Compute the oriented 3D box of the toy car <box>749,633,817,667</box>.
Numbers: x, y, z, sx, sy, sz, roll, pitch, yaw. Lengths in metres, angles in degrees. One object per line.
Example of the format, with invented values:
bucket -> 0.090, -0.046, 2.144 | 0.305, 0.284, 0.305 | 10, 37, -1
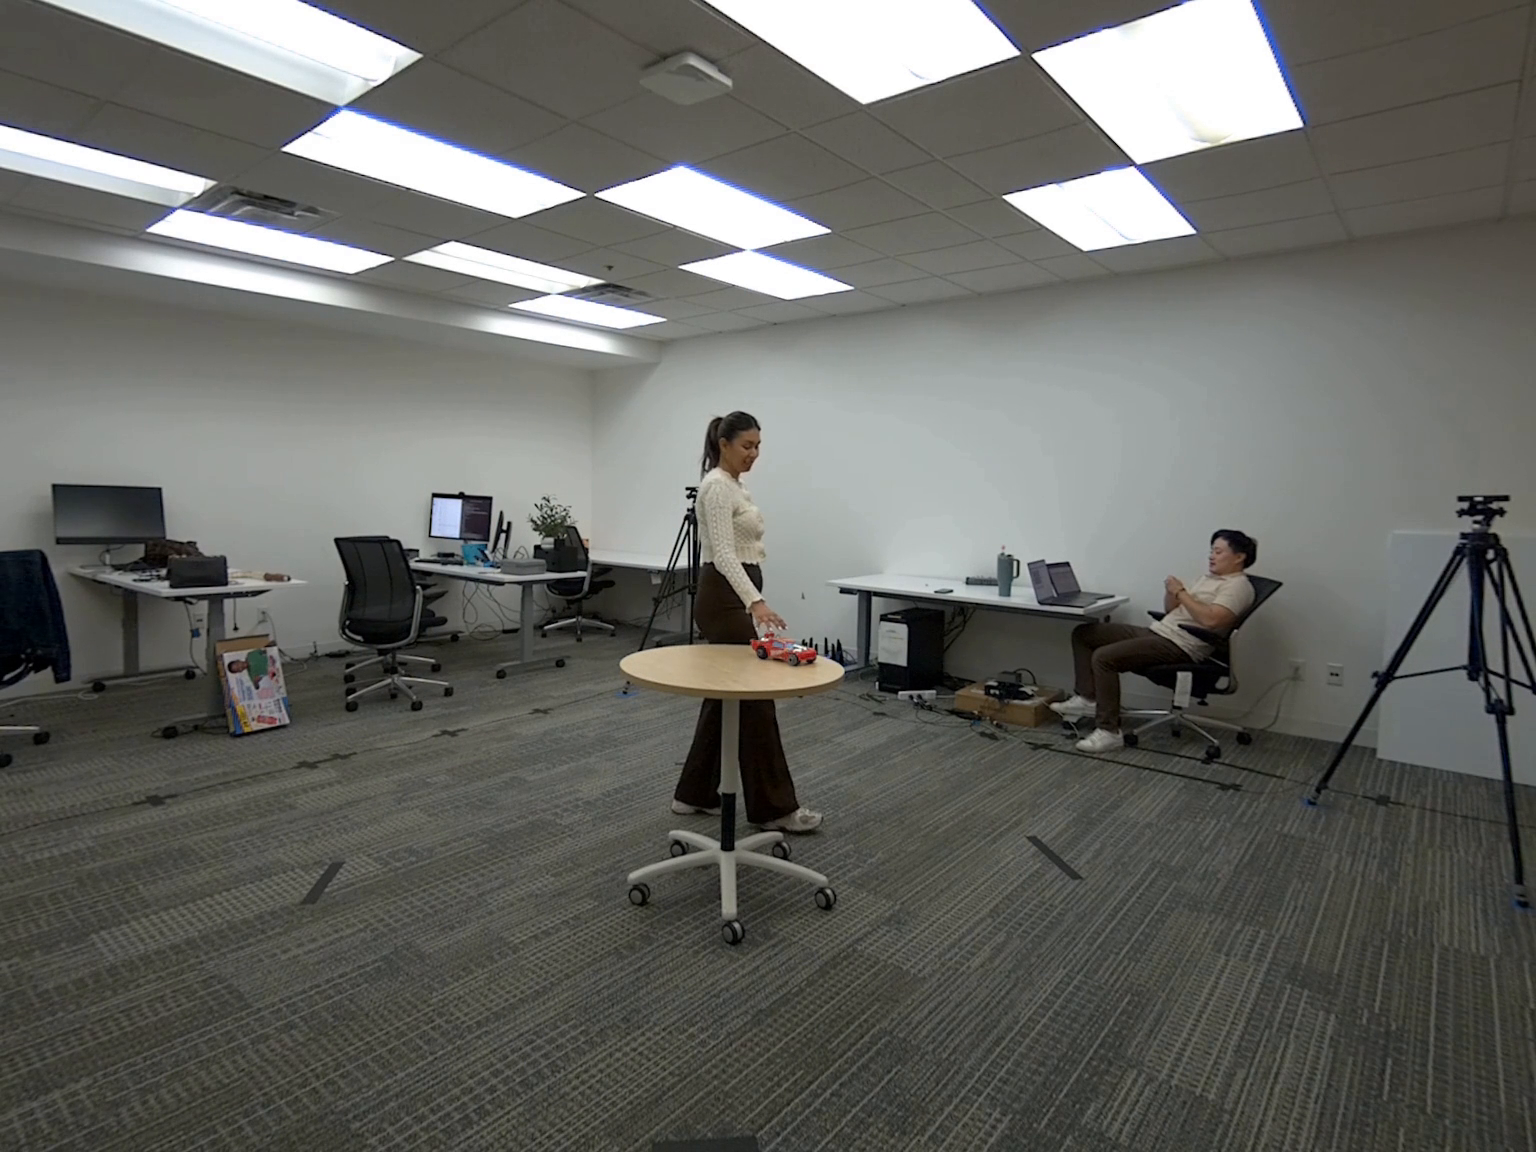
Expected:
toy car -> 0.043, 0.266, 3.028 | 0.265, 0.082, 0.126 | 21, 16, 41
